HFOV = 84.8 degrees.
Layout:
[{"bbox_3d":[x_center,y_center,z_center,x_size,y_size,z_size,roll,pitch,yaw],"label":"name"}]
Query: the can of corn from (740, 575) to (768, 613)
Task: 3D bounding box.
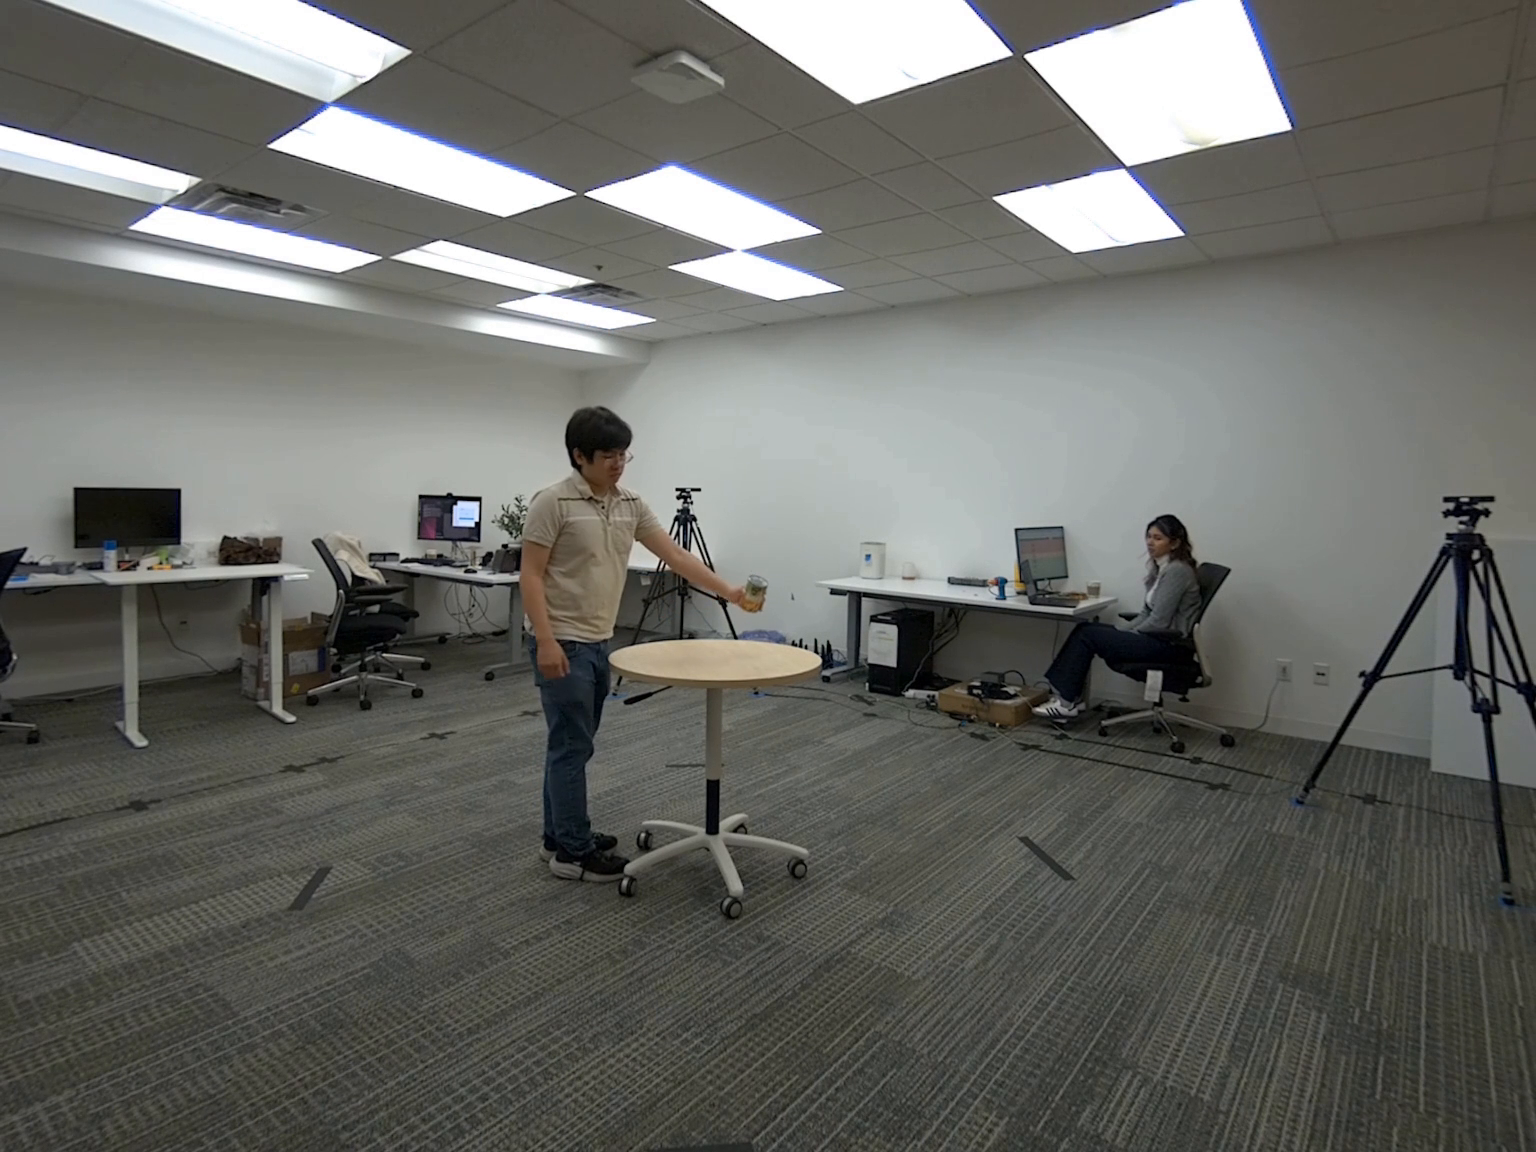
[{"bbox_3d":[-0.075,0.073,2.991,0.074,0.110,0.075,12,13,-5],"label":"can of corn"}]
